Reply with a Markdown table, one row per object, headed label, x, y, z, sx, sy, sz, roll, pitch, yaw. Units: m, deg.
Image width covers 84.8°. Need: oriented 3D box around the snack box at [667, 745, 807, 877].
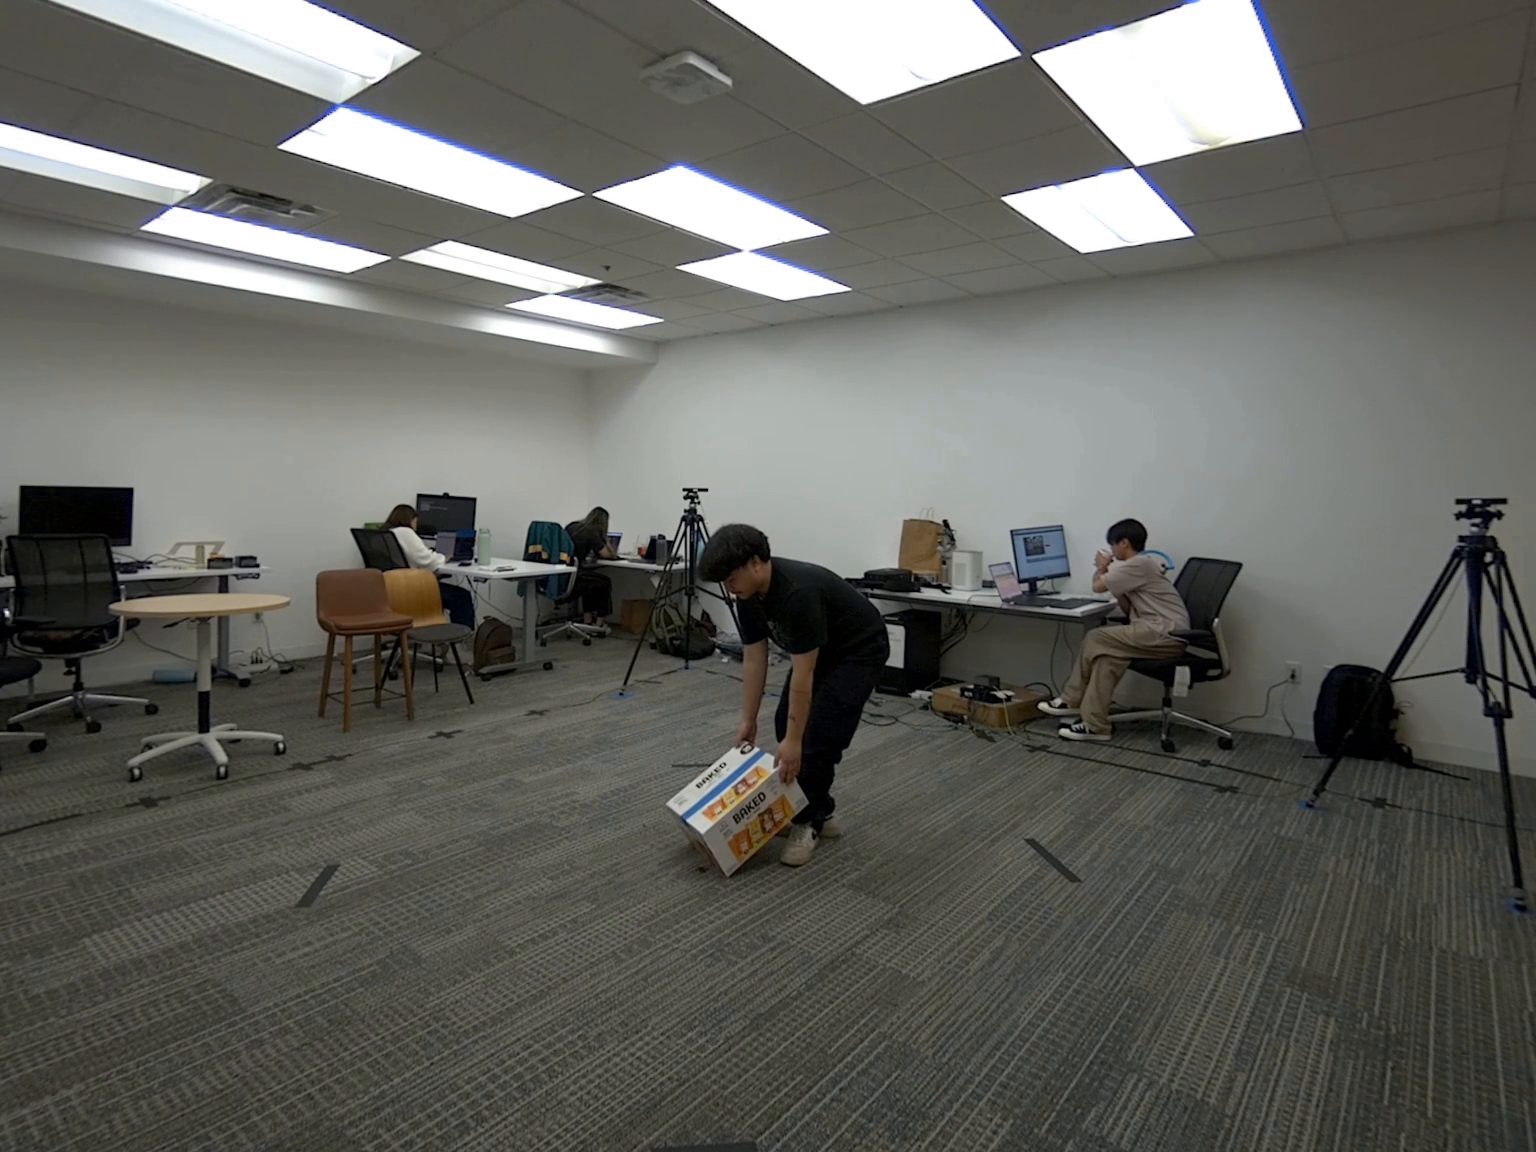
| label | x | y | z | sx | sy | sz | roll | pitch | yaw |
| --- | --- | --- | --- | --- | --- | --- | --- | --- | --- |
| snack box | -0.131 | 0.866 | 3.235 | 0.402 | 0.201 | 0.350 | -37 | 19 | -21 |
